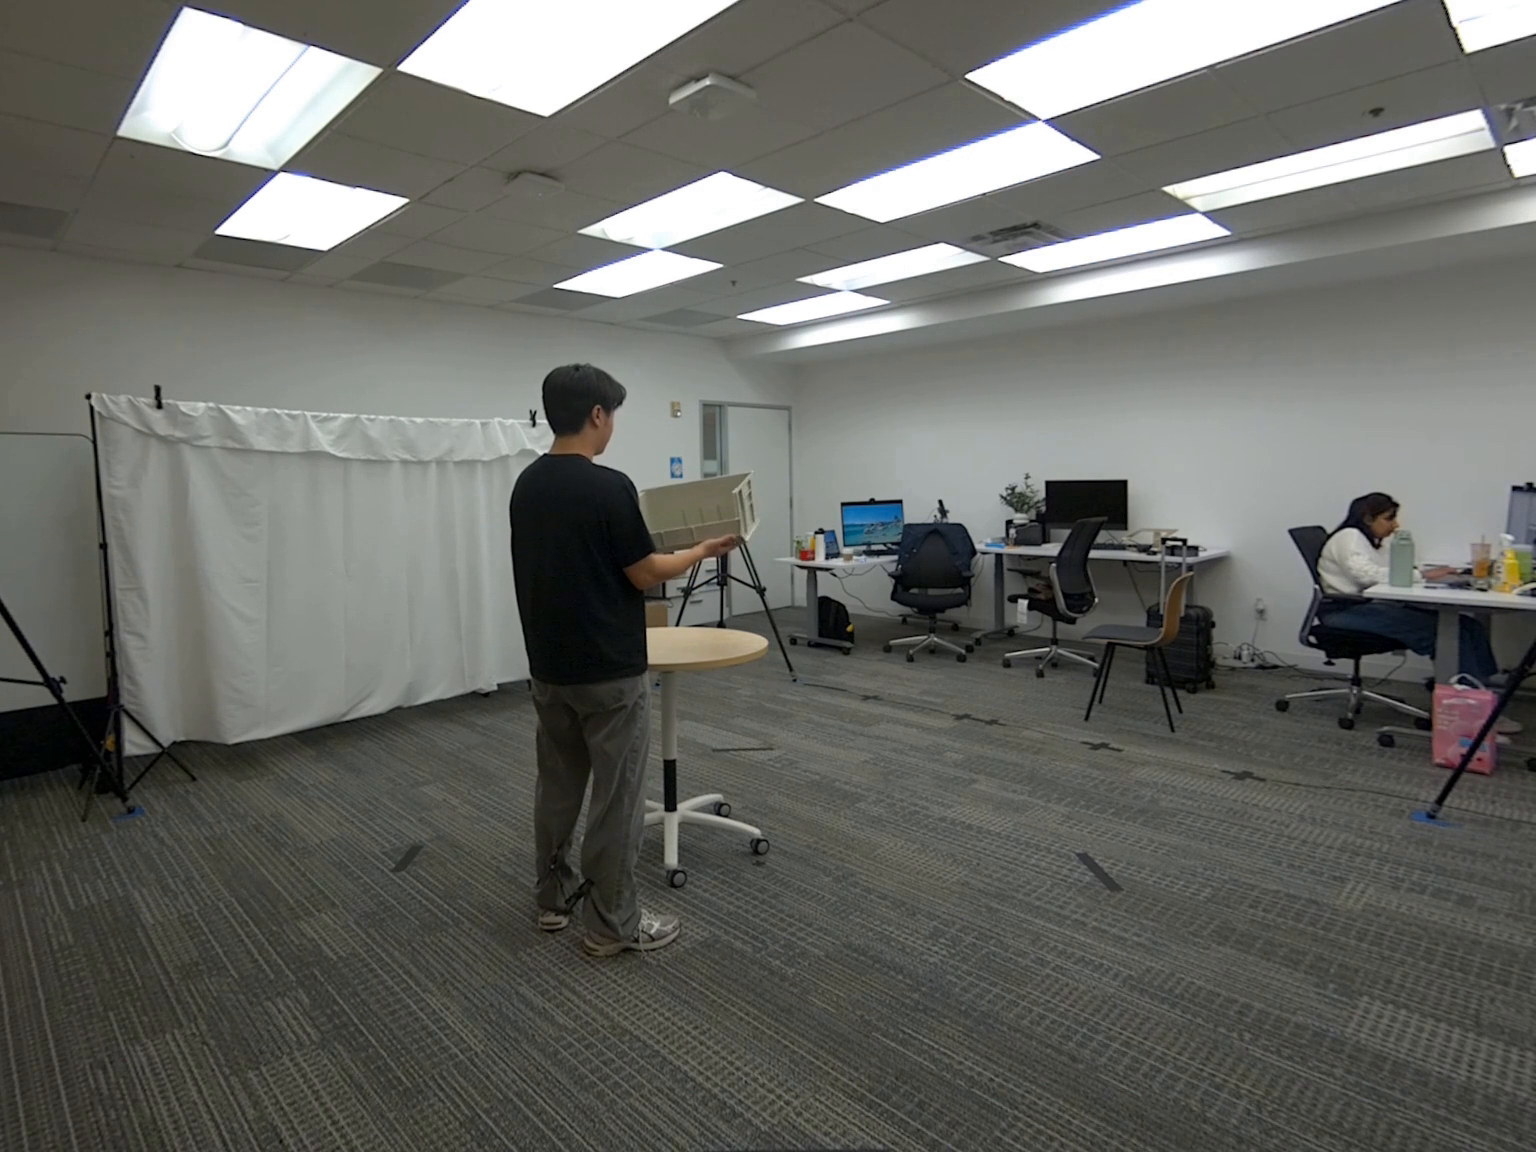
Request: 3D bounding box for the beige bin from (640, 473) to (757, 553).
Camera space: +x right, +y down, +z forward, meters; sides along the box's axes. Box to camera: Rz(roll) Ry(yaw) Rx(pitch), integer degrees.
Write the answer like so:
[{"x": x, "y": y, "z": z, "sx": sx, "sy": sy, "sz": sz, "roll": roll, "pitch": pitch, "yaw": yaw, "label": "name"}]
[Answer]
[{"x": -0.265, "y": -0.204, "z": 2.877, "sx": 0.426, "sy": 0.187, "sz": 0.379, "roll": -9, "pitch": 13, "yaw": 9, "label": "beige bin"}]
